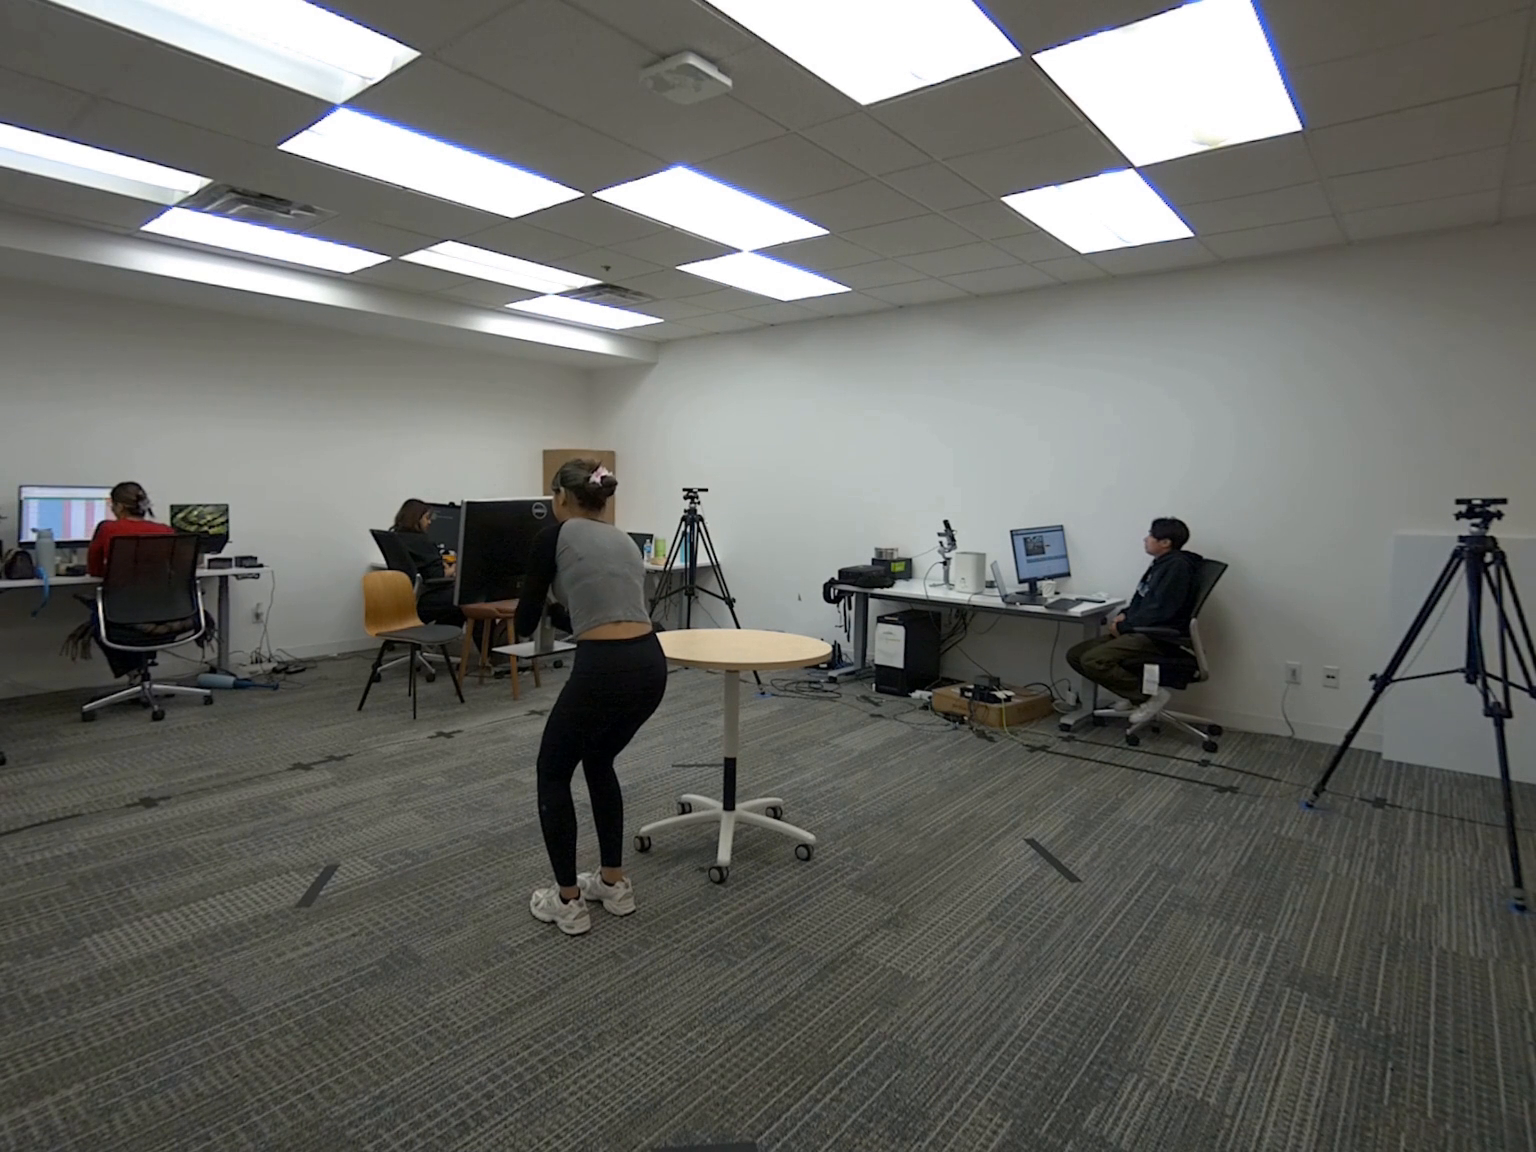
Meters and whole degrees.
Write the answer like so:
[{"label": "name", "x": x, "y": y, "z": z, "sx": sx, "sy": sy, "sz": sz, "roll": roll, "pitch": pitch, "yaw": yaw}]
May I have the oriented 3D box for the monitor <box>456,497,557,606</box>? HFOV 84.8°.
[{"label": "monitor", "x": -0.824, "y": -0.005, "z": 2.975, "sx": 0.193, "sy": 0.521, "sz": 0.524, "roll": 2, "pitch": 5, "yaw": 38}]
